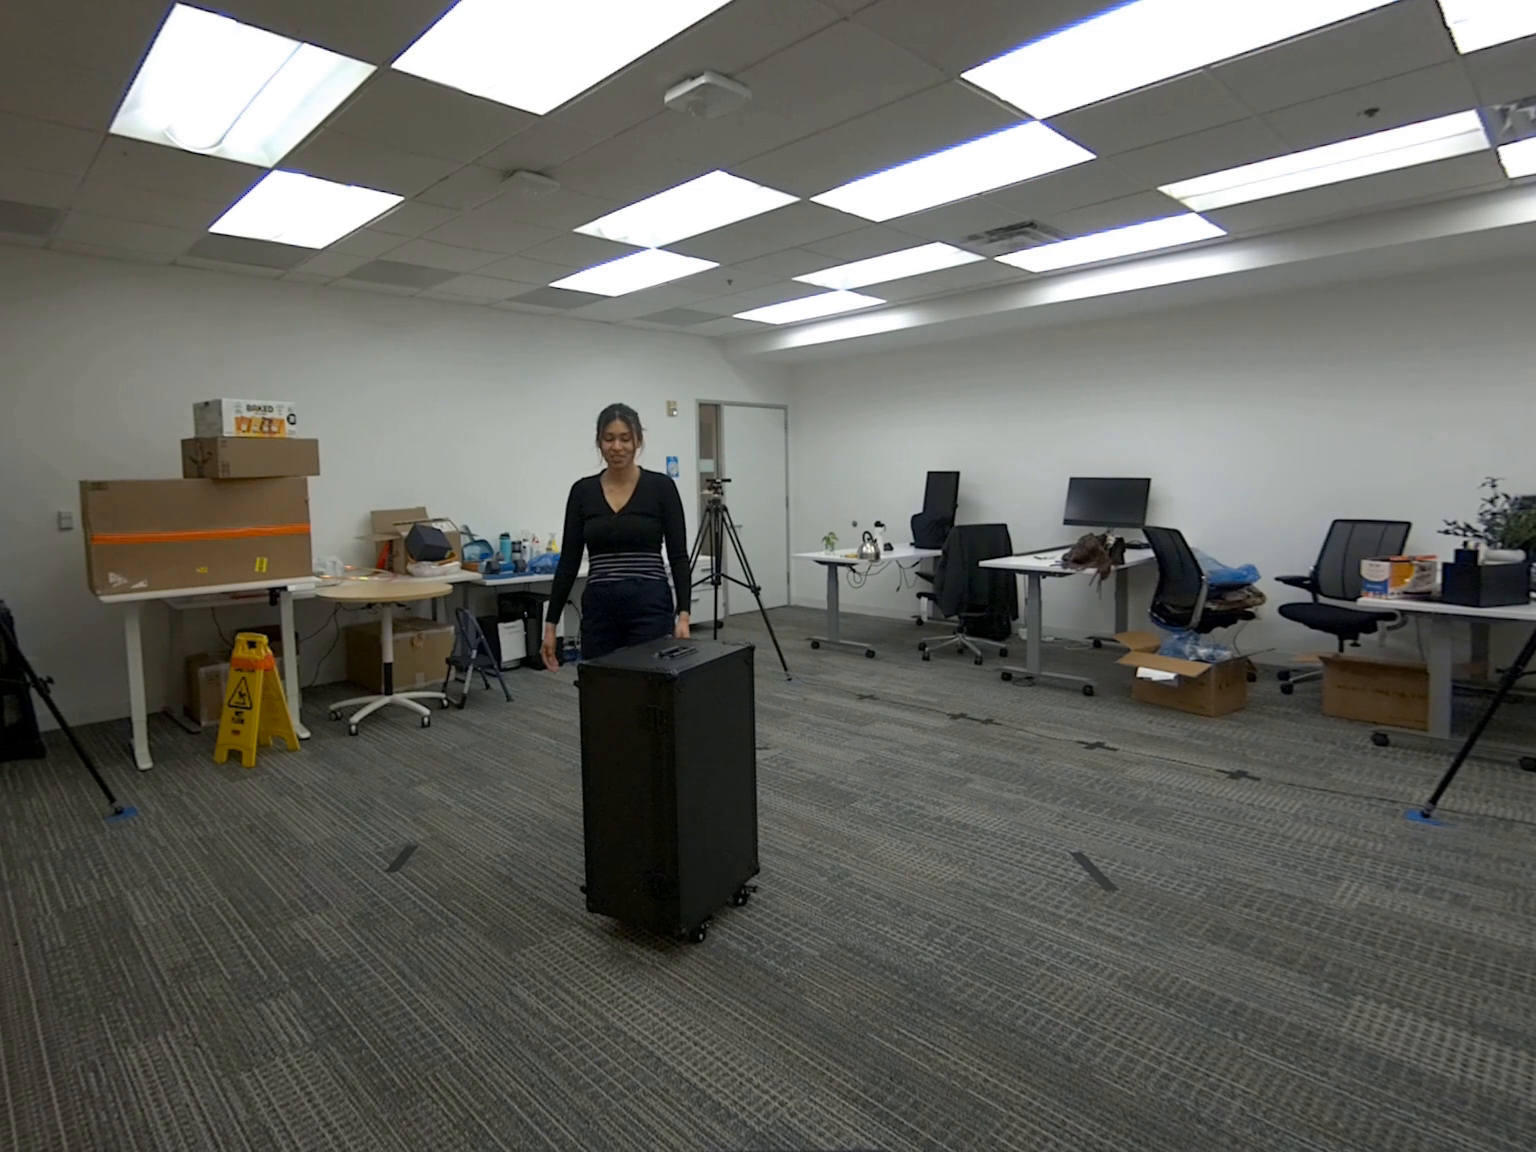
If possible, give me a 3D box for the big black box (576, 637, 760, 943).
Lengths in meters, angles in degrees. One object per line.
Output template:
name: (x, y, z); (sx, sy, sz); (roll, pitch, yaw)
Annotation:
big black box: (-0.312, 0.667, 2.738); (0.406, 0.858, 0.510); (0, 5, 30)
